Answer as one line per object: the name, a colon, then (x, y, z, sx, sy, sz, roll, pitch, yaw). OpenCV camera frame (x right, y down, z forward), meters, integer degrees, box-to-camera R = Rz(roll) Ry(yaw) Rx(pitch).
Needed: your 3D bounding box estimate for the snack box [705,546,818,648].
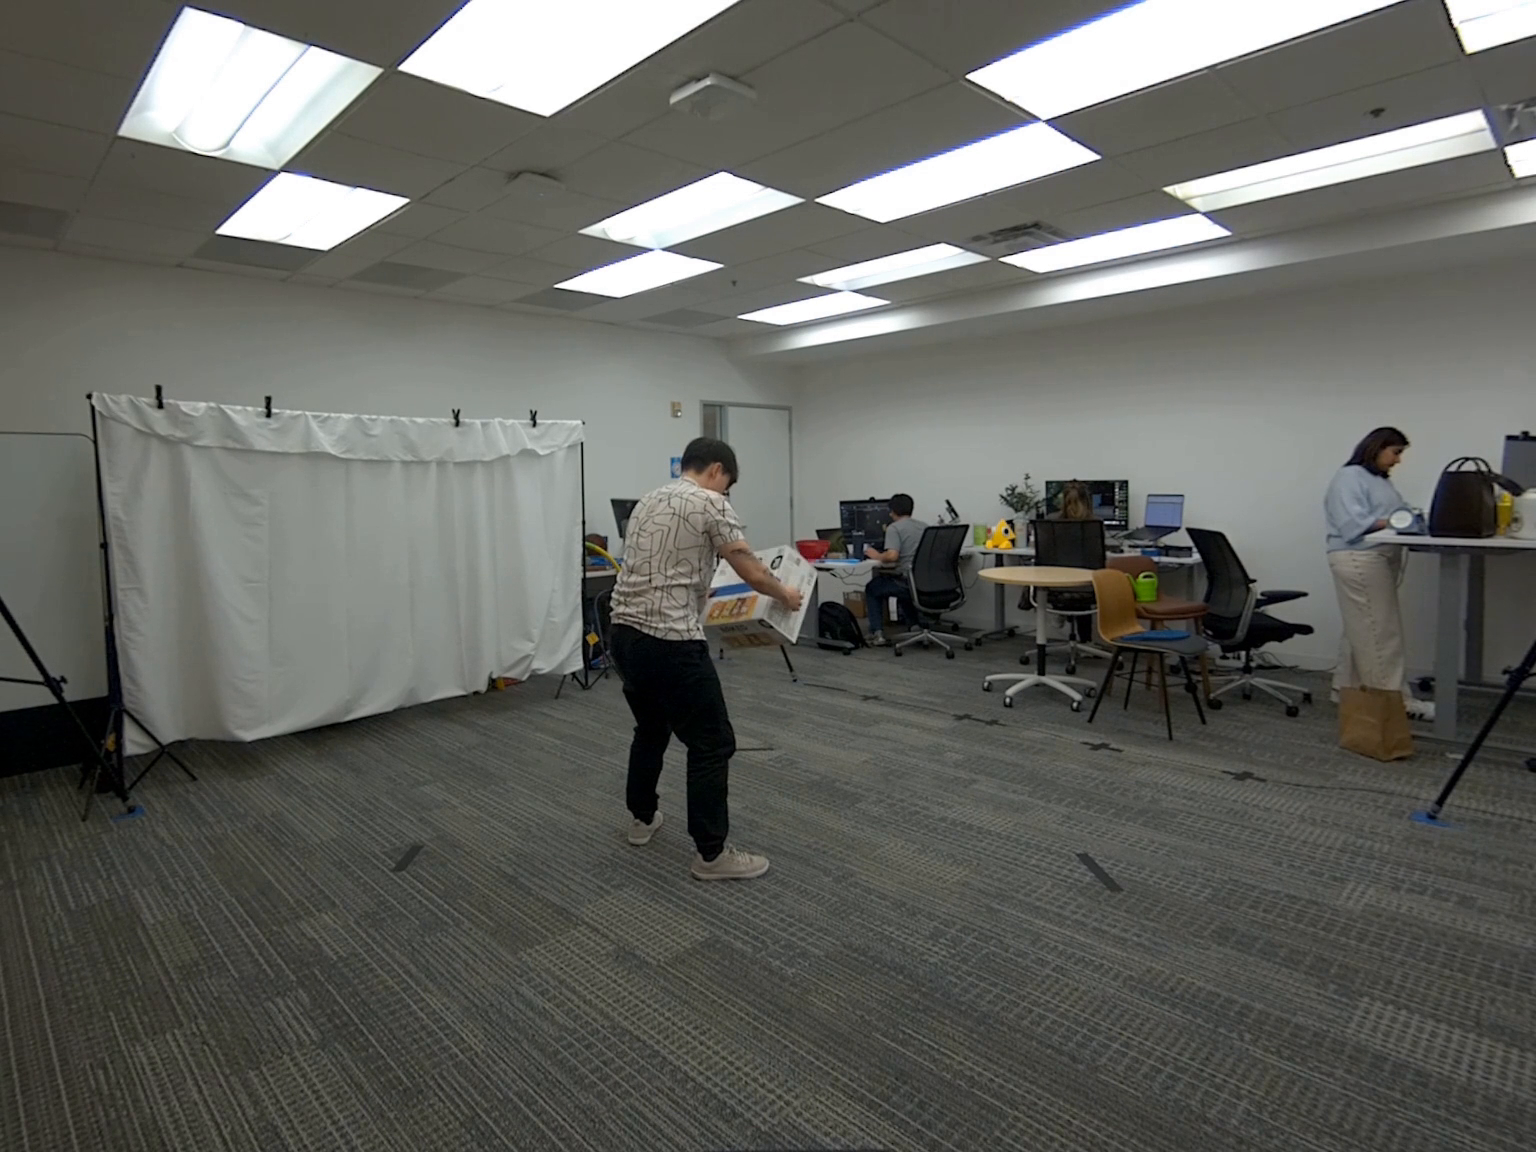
snack box: (-0.045, 0.097, 3.497, 0.414, 0.344, 0.199, -12, -42, 45)
